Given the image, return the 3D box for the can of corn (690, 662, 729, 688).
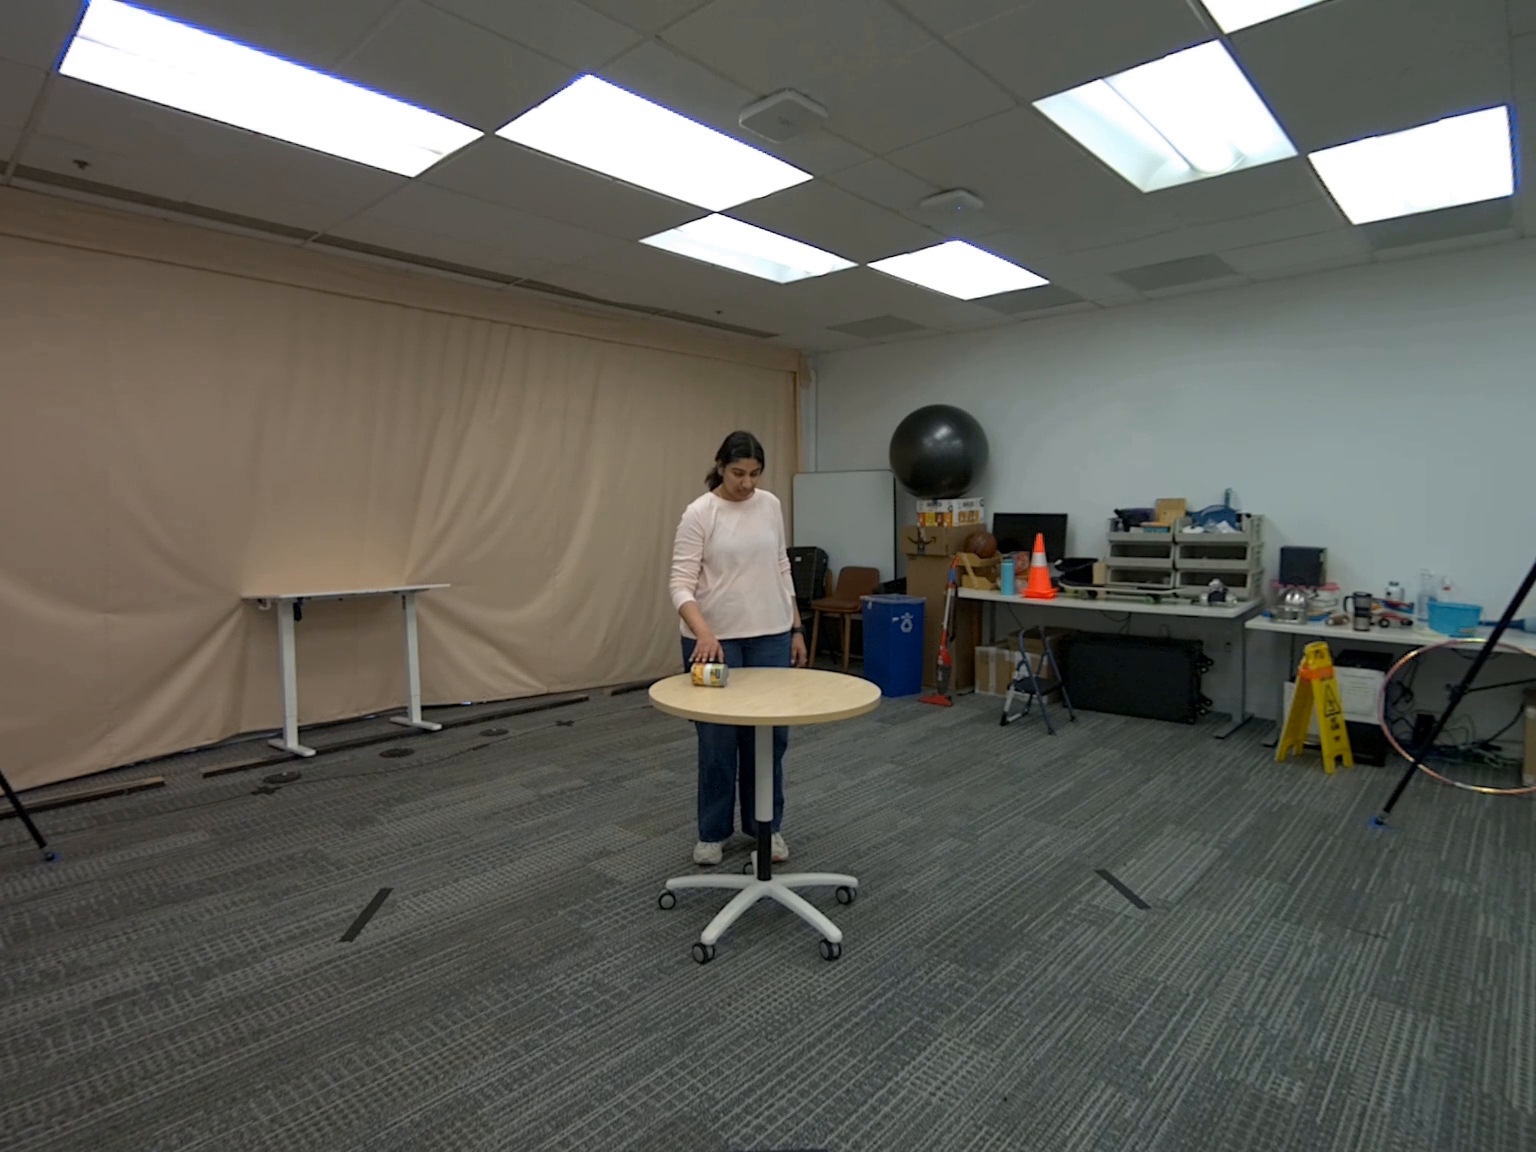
[{"bbox_3d":[-0.193,0.333,2.854,0.113,0.074,0.073,0,4,14],"label":"can of corn"}]
